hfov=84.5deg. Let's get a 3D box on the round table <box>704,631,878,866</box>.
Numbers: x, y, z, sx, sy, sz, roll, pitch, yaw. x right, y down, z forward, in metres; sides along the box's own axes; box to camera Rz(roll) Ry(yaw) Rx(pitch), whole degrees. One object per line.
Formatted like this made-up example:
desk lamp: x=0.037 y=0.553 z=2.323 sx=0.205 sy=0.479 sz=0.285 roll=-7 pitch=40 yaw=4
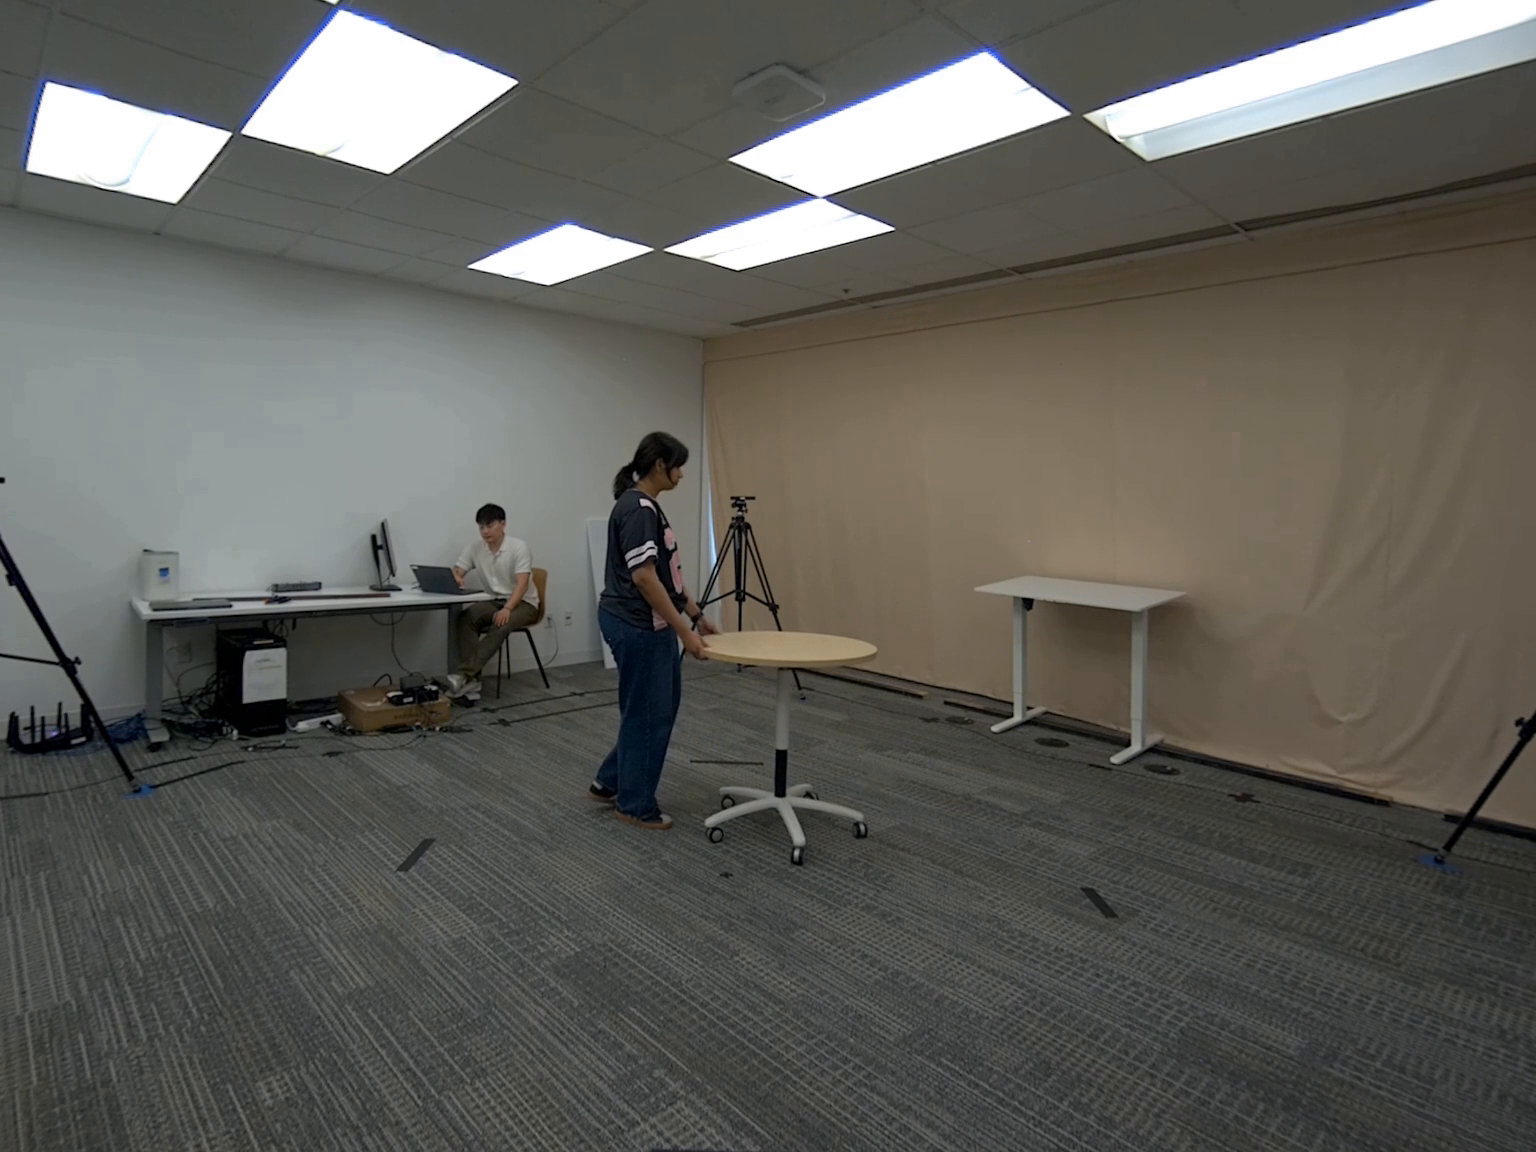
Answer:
round table: x=0.050 y=0.682 z=3.538 sx=0.763 sy=0.792 sz=0.766 roll=1 pitch=3 yaw=-1
